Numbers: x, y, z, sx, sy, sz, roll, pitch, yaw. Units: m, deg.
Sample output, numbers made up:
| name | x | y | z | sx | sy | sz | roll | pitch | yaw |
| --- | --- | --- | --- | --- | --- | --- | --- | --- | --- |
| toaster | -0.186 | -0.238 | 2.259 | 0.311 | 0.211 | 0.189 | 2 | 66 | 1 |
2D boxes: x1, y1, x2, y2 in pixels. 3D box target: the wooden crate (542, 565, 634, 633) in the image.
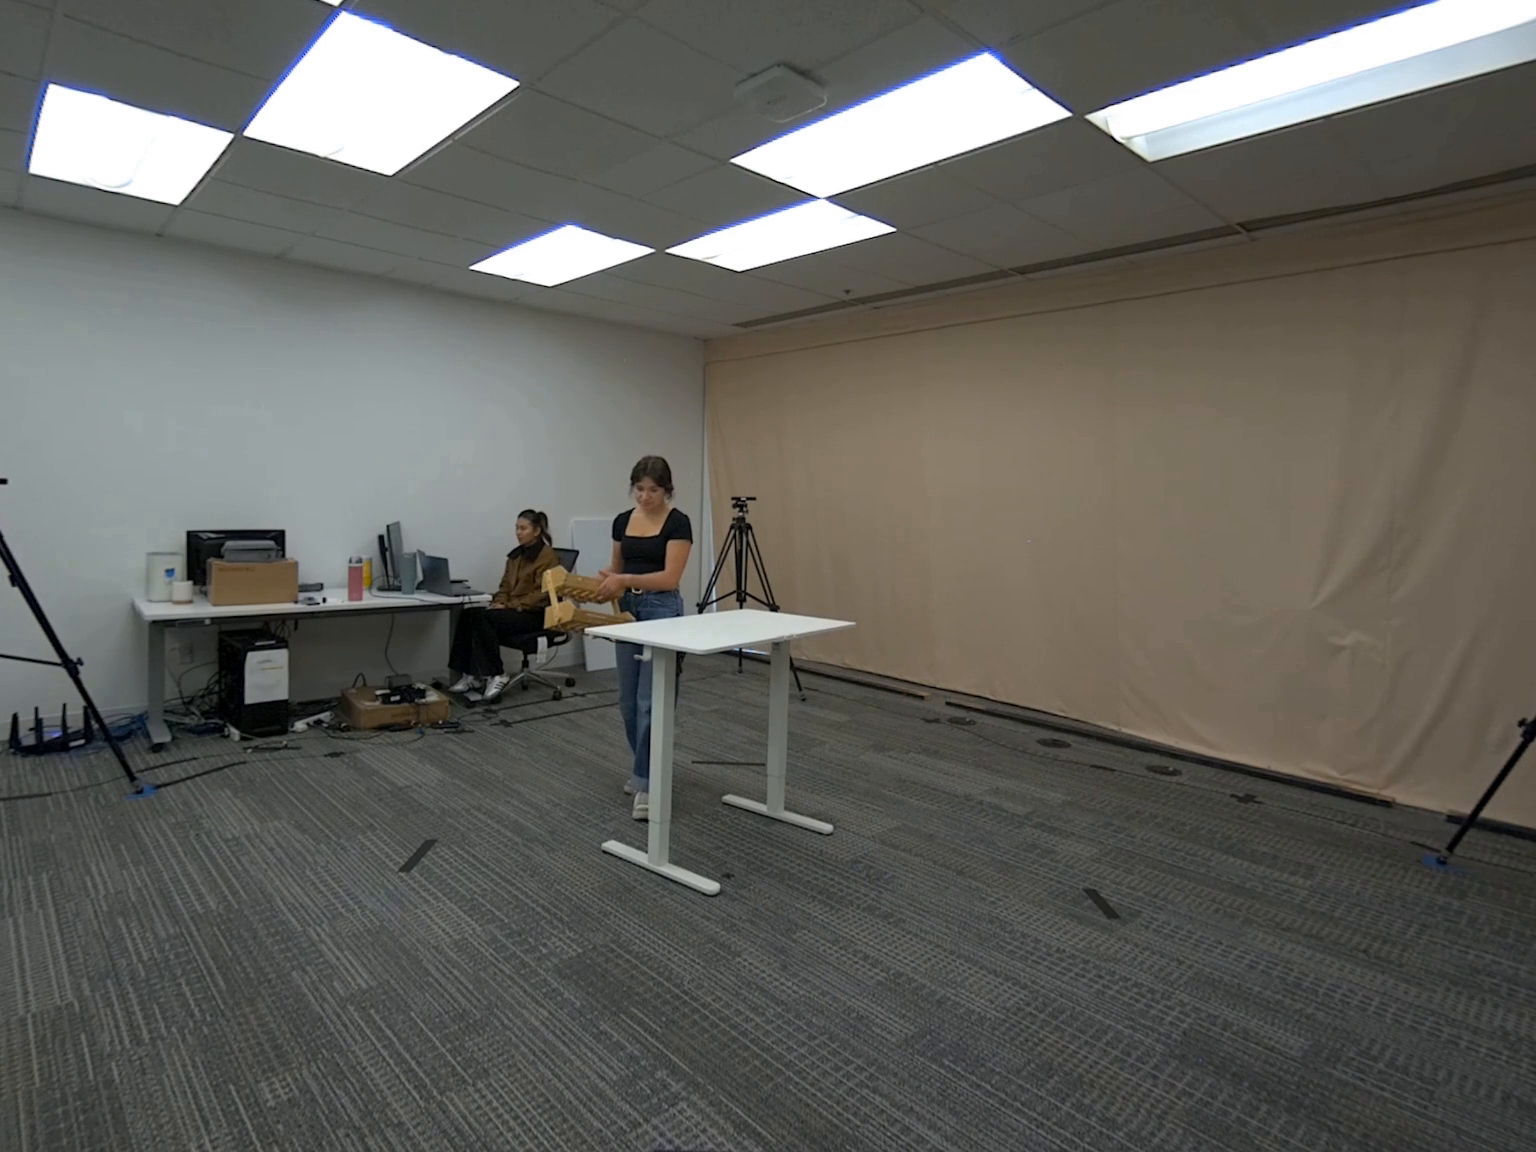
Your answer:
| name | x | y | z | sx | sy | sz | roll | pitch | yaw |
| --- | --- | --- | --- | --- | --- | --- | --- | --- | --- |
| wooden crate | -0.781 | 0.098 | 3.634 | 0.315 | 0.277 | 0.306 | 13 | -21 | -40 |
